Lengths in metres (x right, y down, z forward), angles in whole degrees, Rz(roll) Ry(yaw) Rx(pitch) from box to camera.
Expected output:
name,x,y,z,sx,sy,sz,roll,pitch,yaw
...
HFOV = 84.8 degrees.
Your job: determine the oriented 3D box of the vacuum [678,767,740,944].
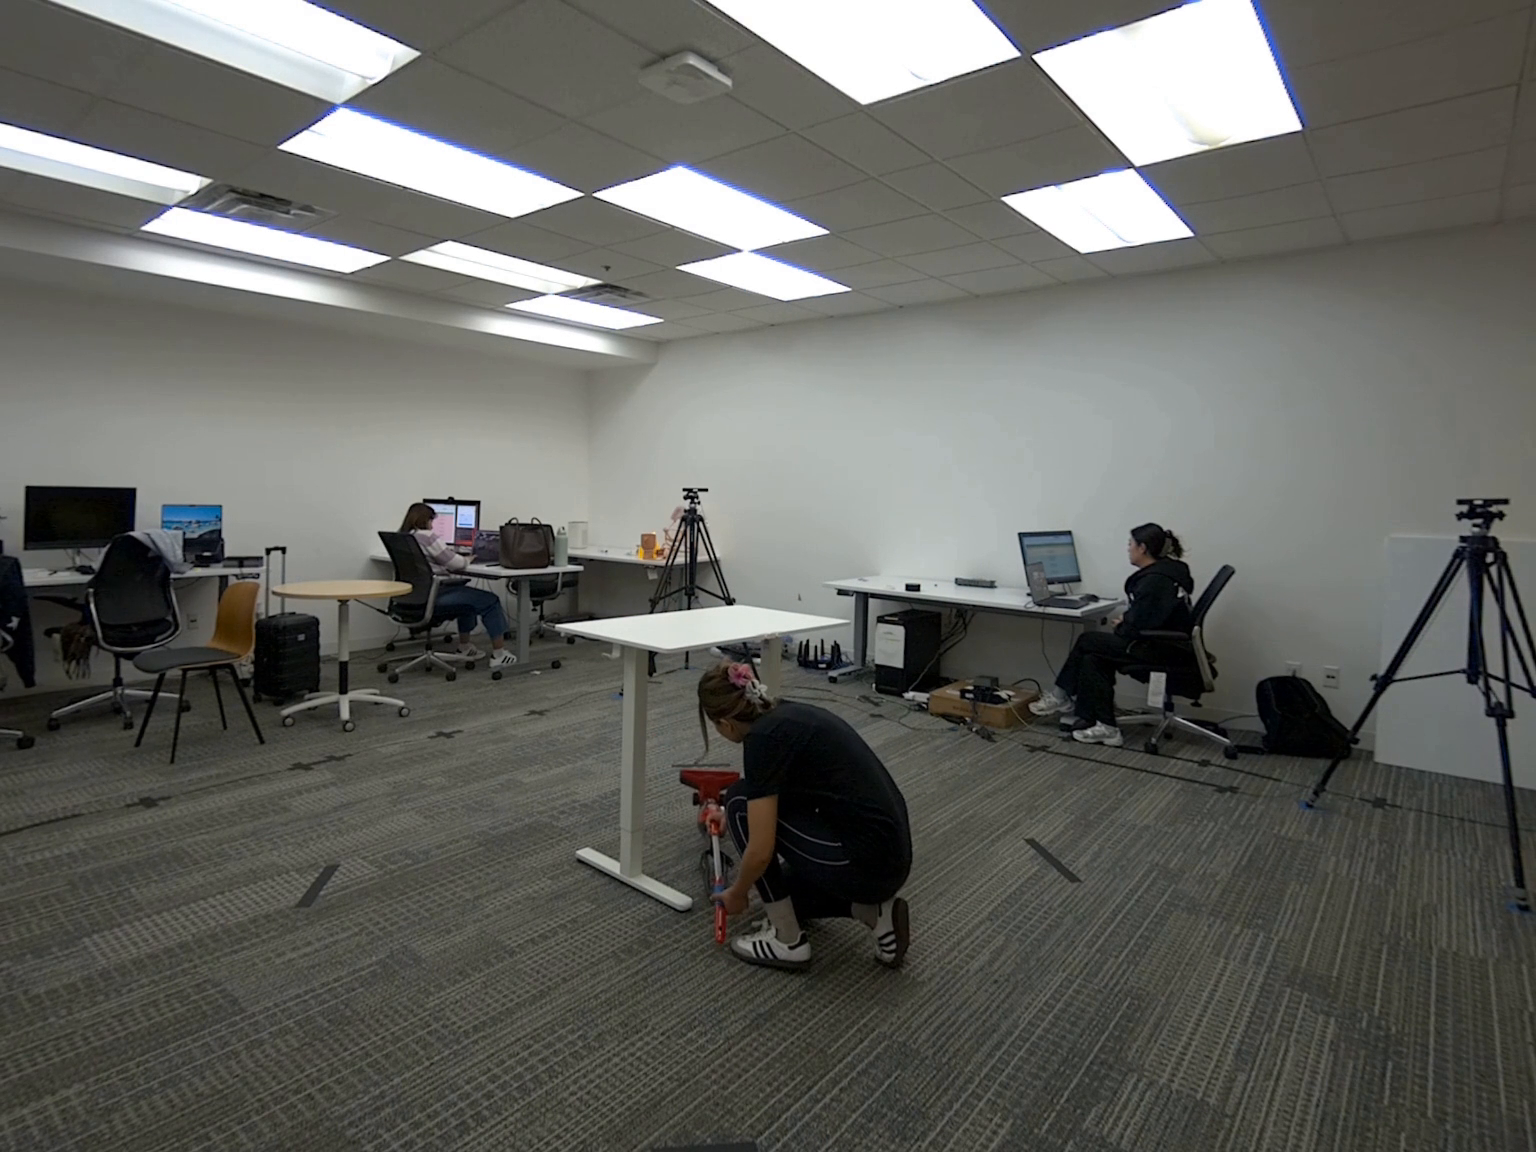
name,x,y,z,sx,sy,sz,roll,pitch,yaw
vacuum,-0.203,0.968,3.036,0.251,0.143,1.063,3,10,-6
